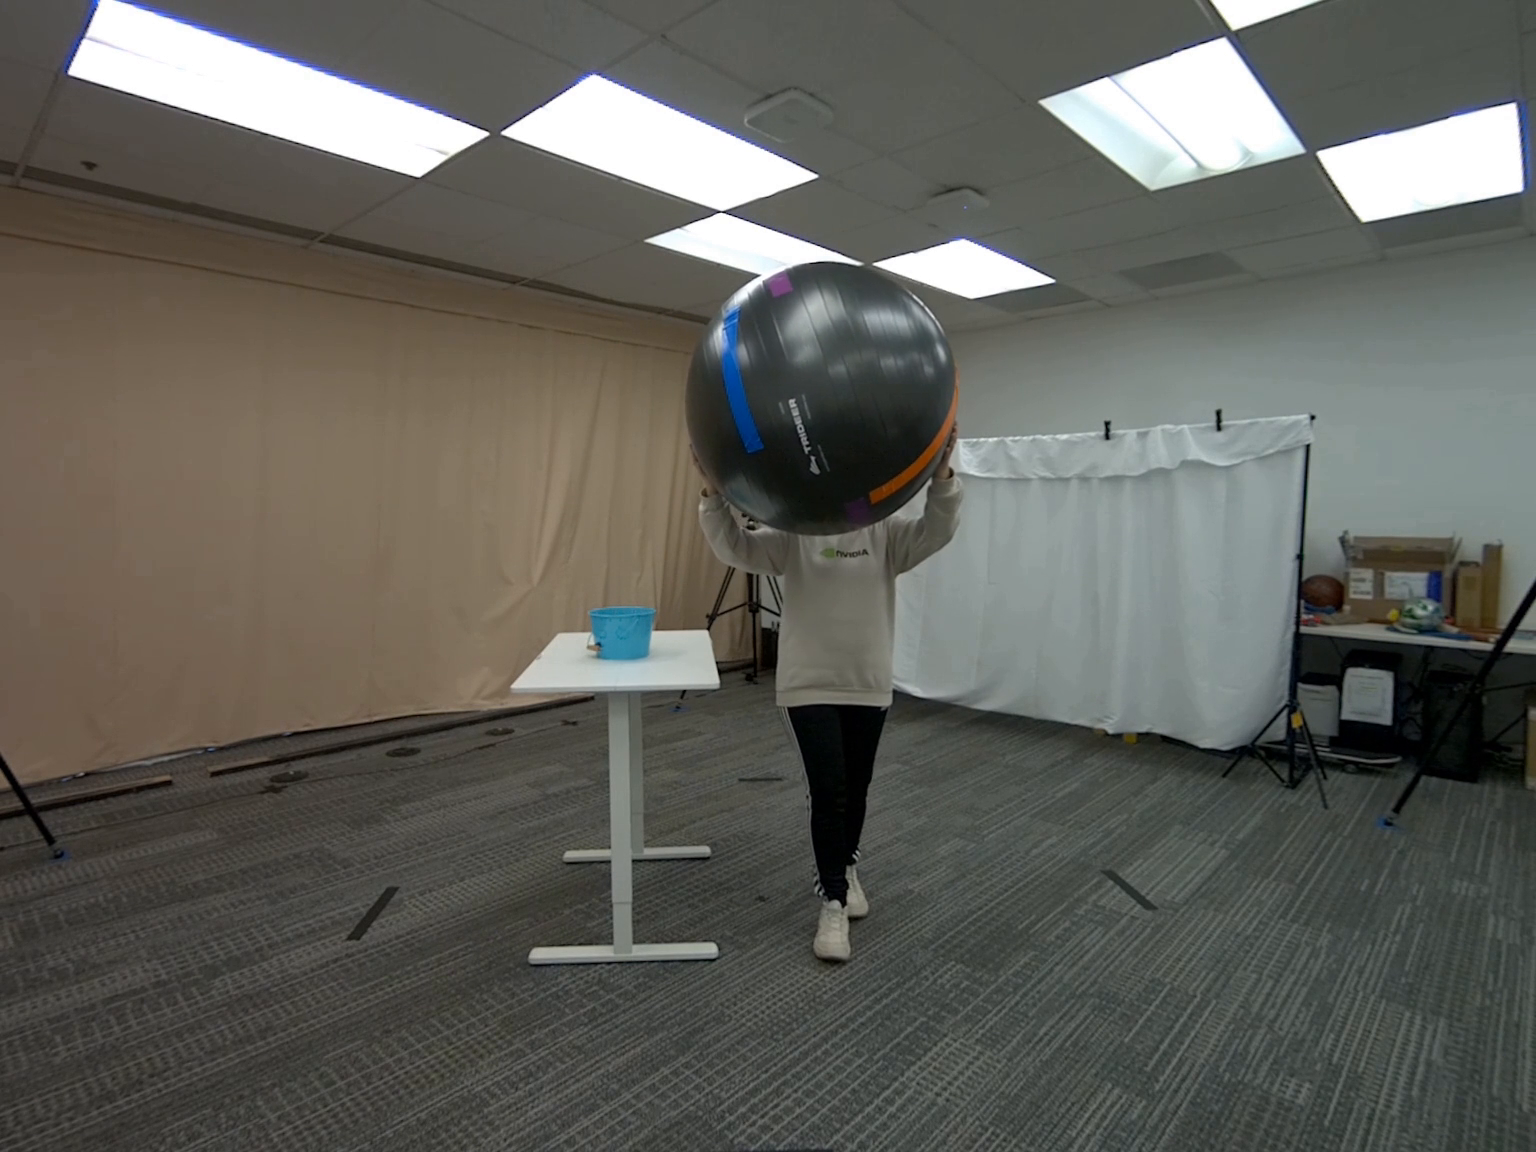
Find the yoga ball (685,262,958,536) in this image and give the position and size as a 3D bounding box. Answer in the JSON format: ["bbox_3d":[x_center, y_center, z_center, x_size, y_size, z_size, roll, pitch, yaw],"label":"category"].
[{"bbox_3d":[0.148,-0.487,2.381,0.757,0.756,0.760,0,4,-2],"label":"yoga ball"}]
